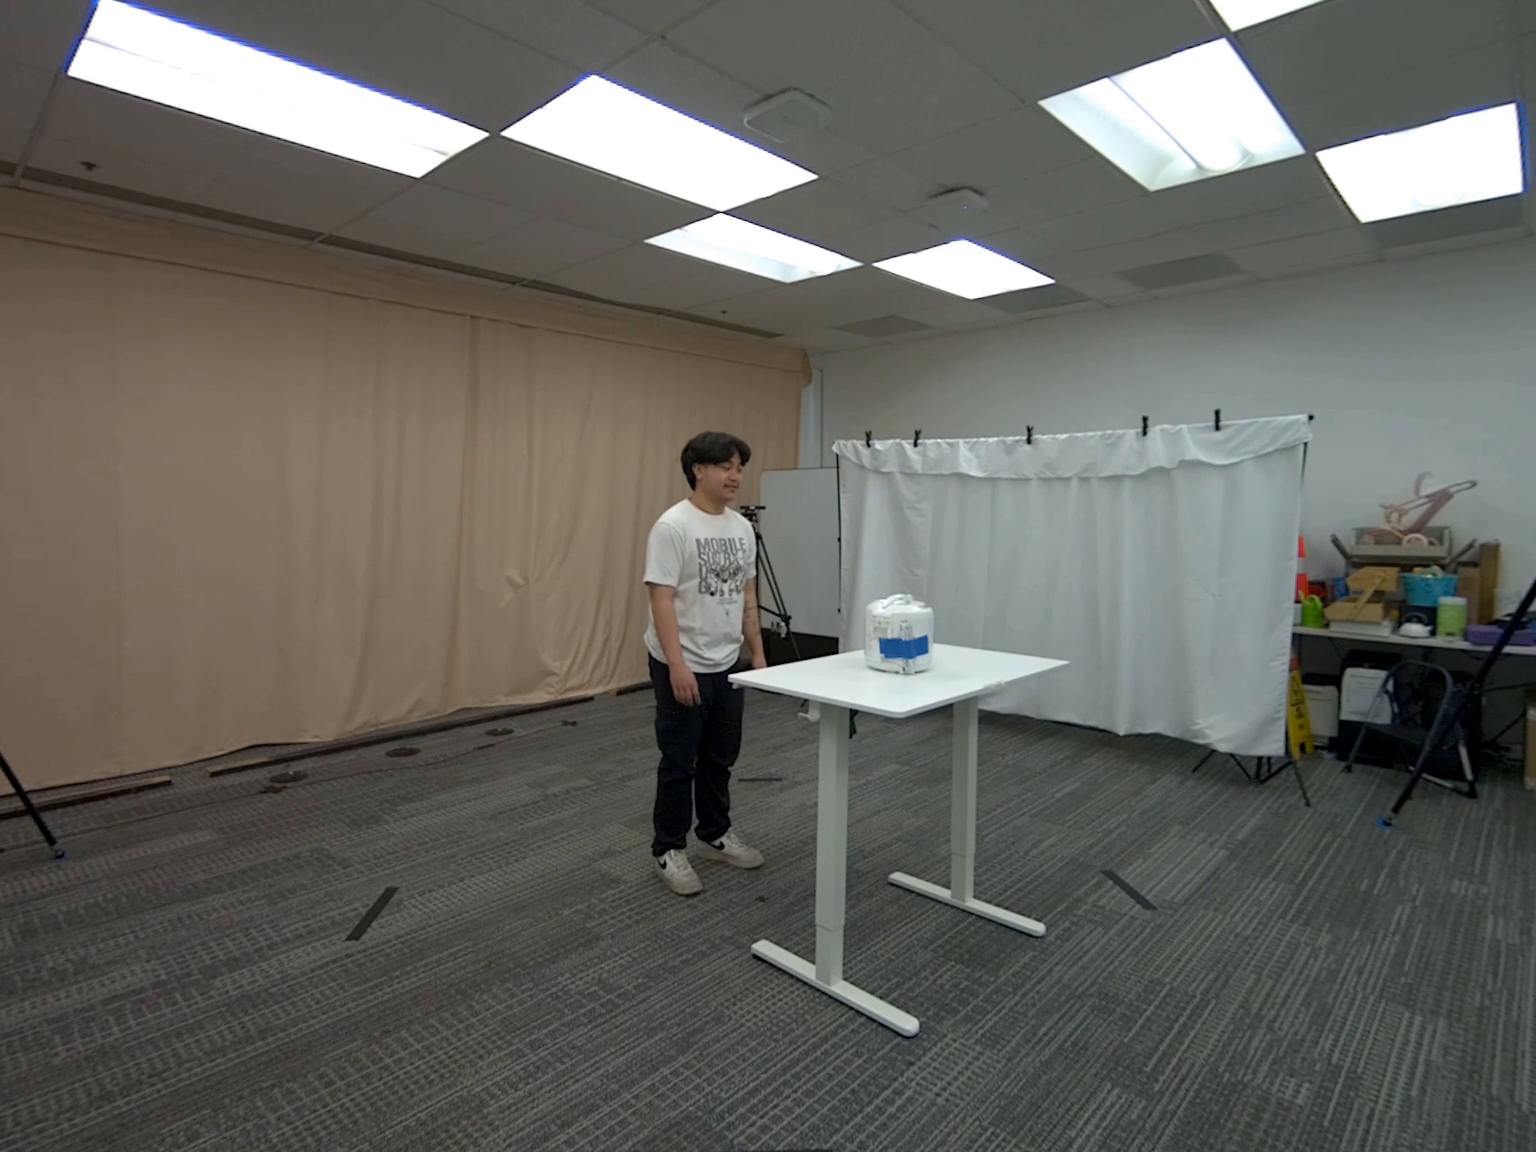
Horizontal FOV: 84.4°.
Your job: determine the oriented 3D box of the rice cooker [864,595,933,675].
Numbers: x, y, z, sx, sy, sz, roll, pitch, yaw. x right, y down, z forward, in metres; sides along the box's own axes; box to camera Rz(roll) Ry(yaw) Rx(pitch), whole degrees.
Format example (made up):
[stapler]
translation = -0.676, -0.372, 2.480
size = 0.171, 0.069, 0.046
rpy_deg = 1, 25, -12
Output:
[rice cooker]
translation = 0.410, 0.175, 2.617
size = 0.225, 0.232, 0.214
rpy_deg = 5, 5, 42
